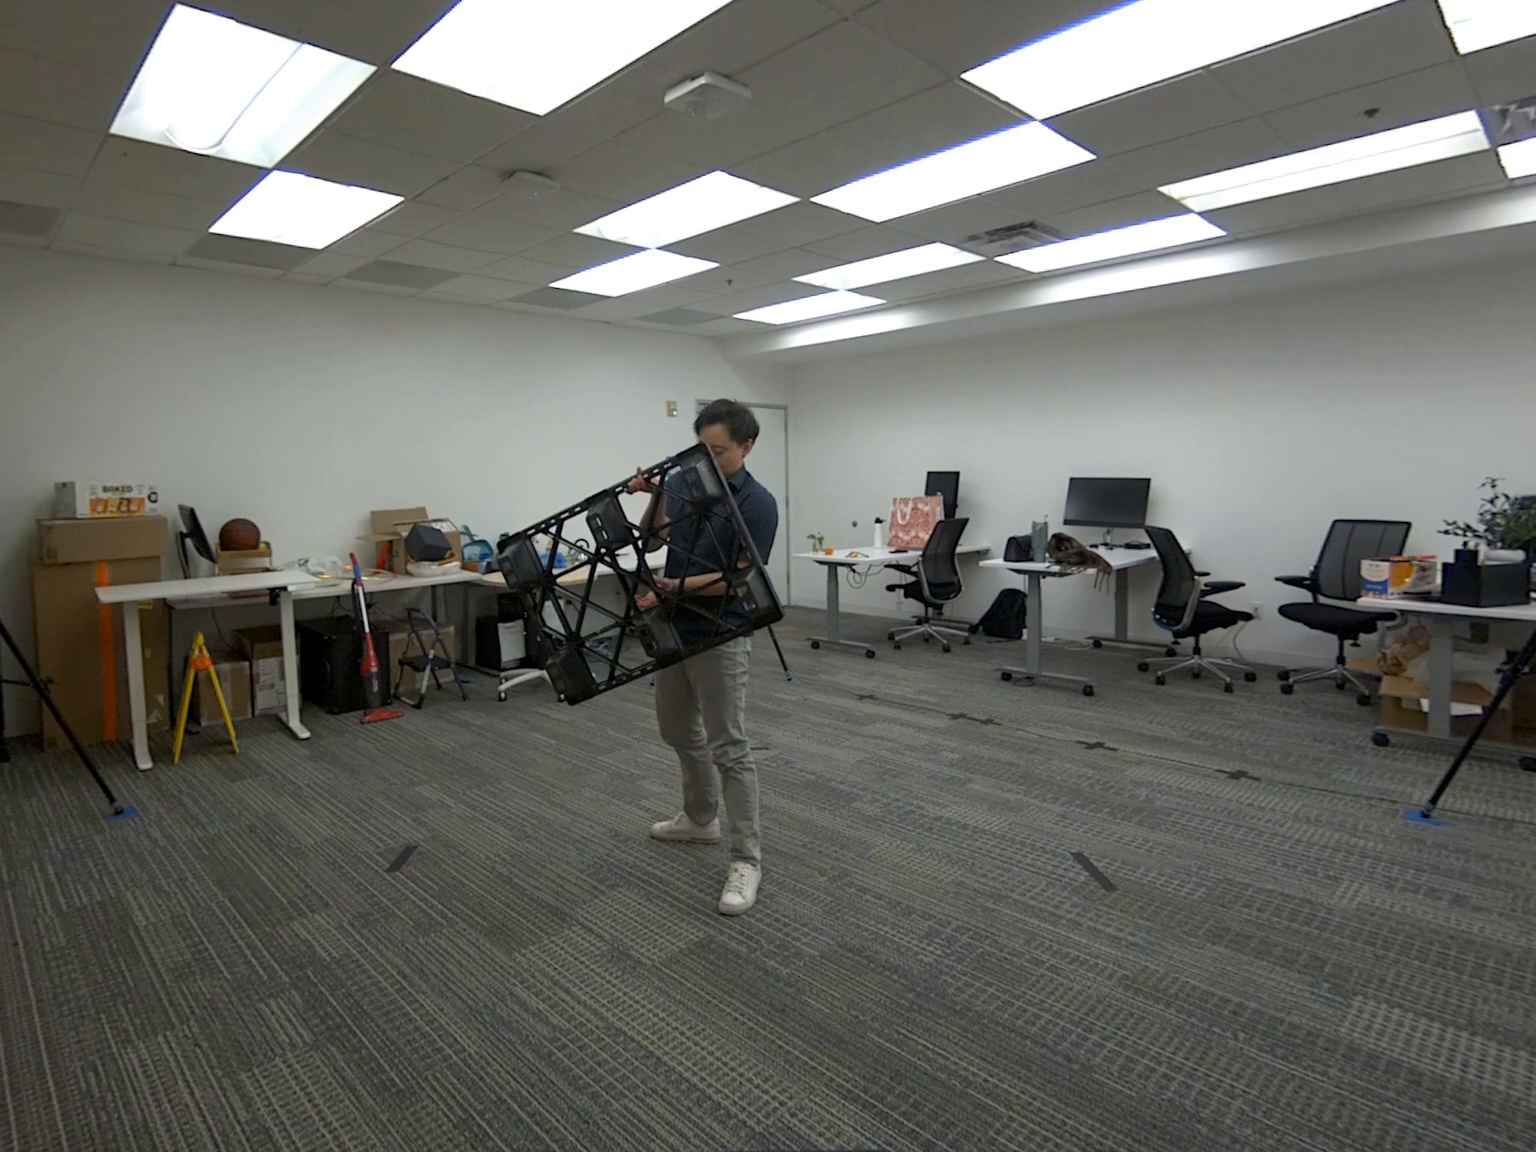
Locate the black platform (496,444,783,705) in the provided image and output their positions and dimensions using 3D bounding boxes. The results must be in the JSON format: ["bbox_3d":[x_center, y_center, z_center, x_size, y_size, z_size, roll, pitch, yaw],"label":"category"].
[{"bbox_3d":[-0.436,0.023,2.683,0.812,0.604,0.142,-25,1,16],"label":"black platform"}]
